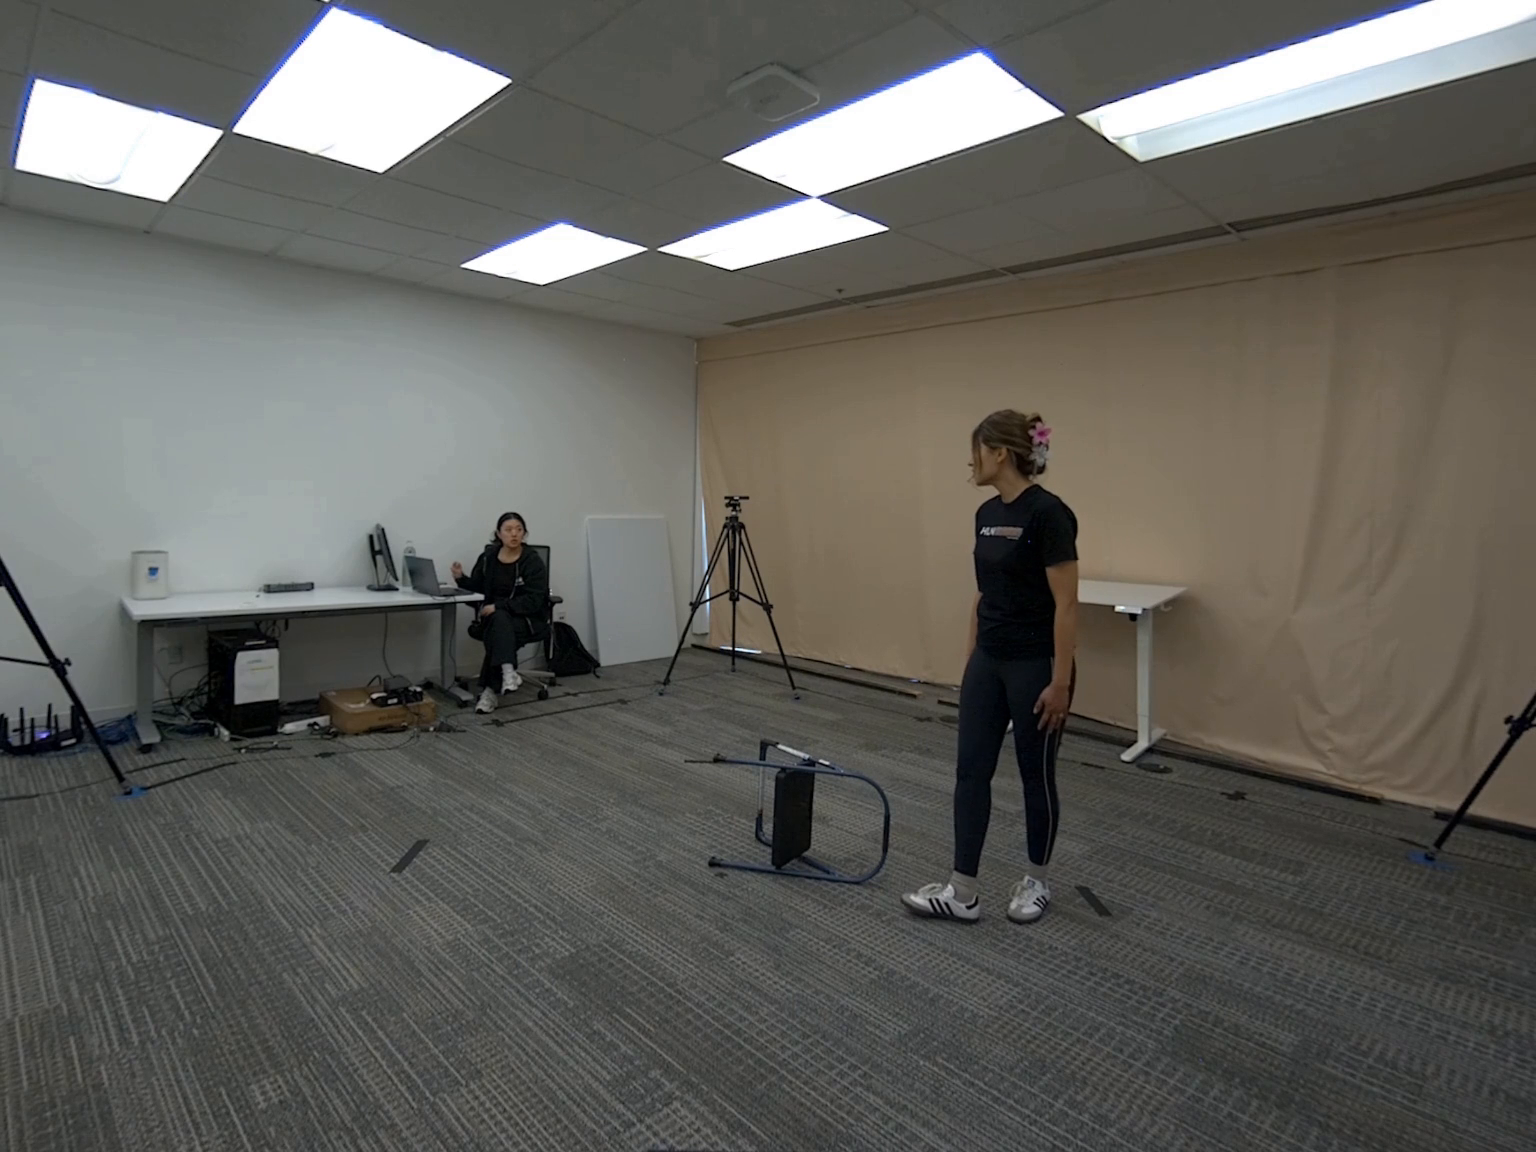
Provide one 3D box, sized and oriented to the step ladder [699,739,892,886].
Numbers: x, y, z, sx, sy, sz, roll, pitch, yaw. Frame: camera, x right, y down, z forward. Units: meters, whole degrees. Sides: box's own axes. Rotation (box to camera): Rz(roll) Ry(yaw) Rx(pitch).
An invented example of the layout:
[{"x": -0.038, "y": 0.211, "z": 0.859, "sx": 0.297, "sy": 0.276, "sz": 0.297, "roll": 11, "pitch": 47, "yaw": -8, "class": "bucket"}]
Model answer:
[{"x": 0.132, "y": 0.906, "z": 3.136, "sx": 0.620, "sy": 0.429, "sz": 0.342, "roll": 6, "pitch": 6, "yaw": 33, "class": "step ladder"}]
